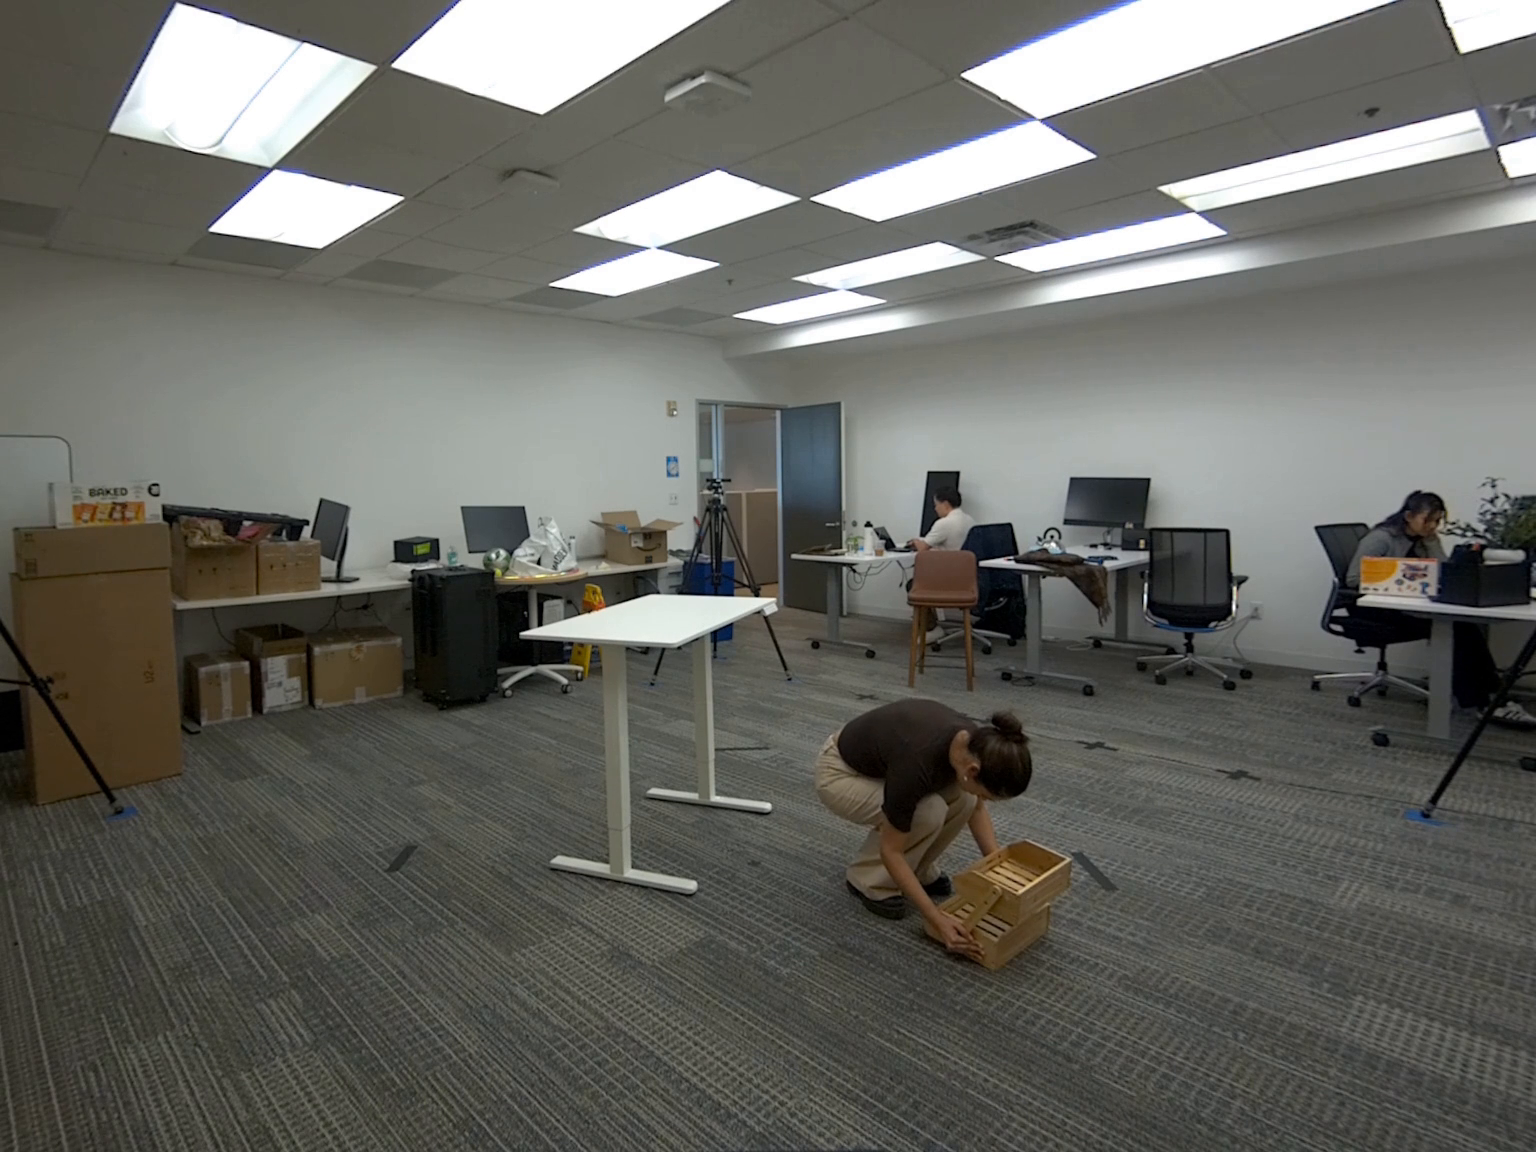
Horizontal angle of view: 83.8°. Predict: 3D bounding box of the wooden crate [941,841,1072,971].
[{"bbox_3d":[0.685,0.950,2.553,0.316,0.271,0.312,-8,14,-41],"label":"wooden crate"}]
